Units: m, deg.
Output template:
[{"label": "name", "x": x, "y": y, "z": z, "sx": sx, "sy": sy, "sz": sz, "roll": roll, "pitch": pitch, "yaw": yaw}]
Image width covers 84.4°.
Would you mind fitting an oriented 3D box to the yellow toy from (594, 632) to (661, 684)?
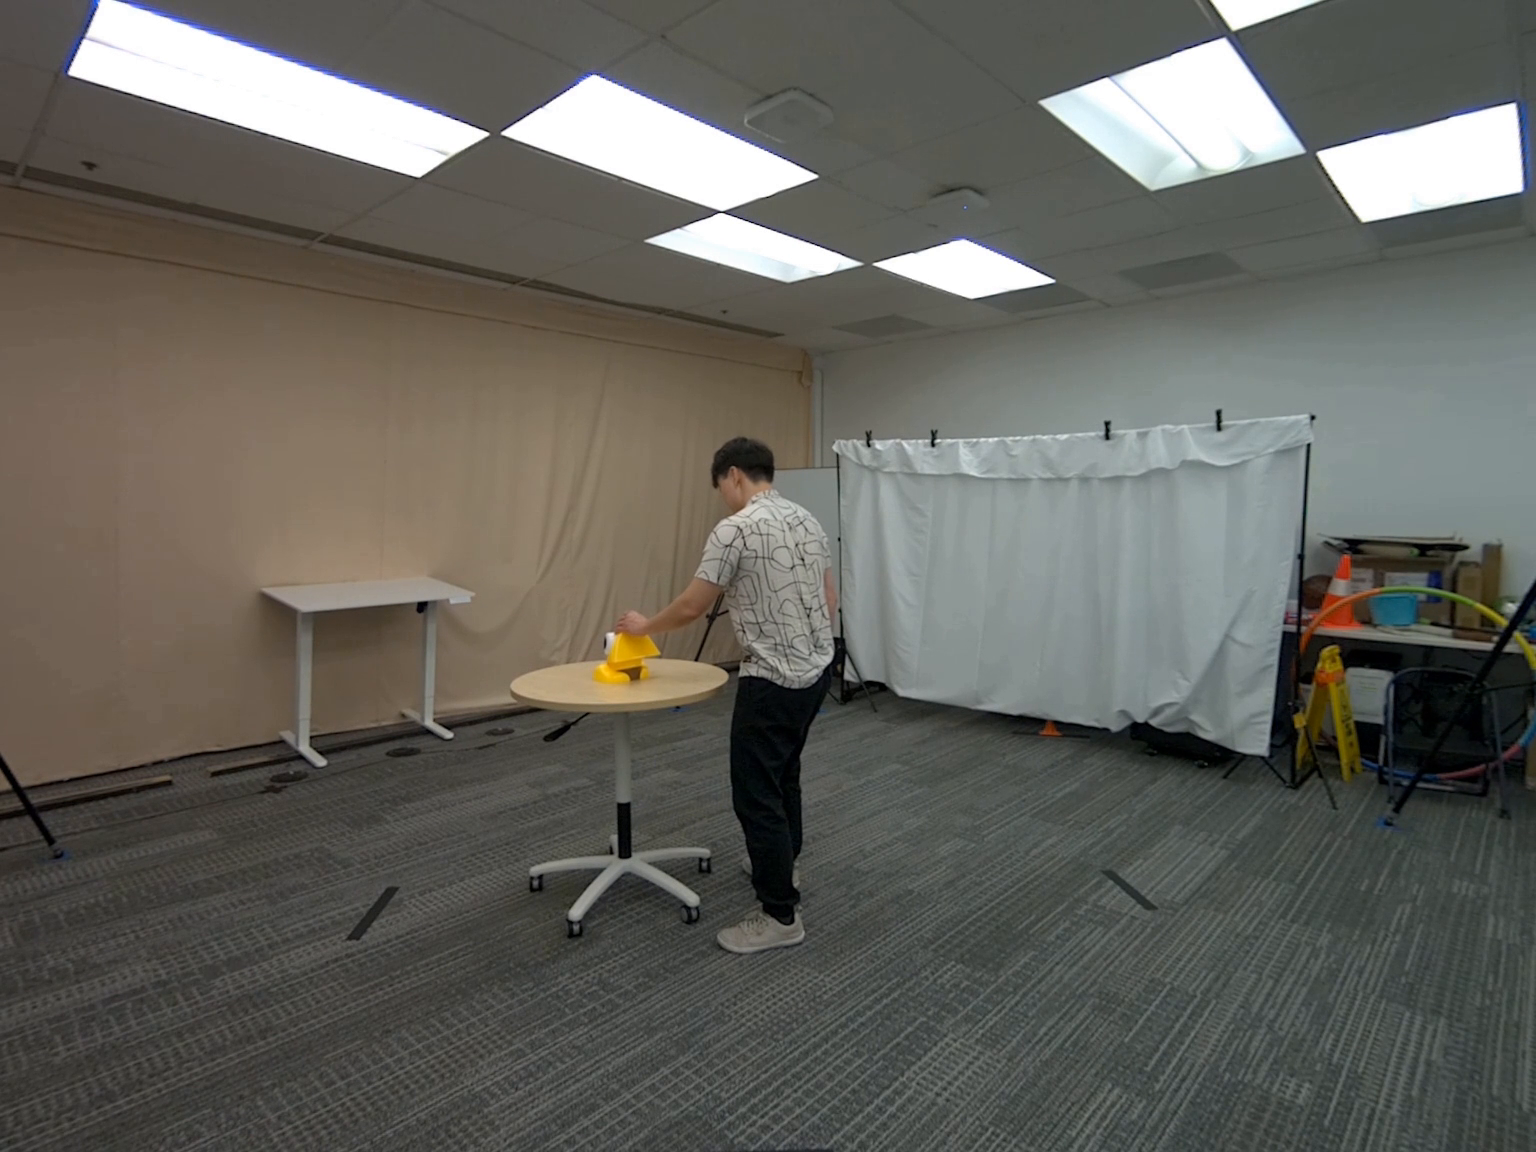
[{"label": "yellow toy", "x": -0.519, "y": 0.252, "z": 3.001, "sx": 0.199, "sy": 0.230, "sz": 0.198, "roll": 3, "pitch": 5, "yaw": 44}]
